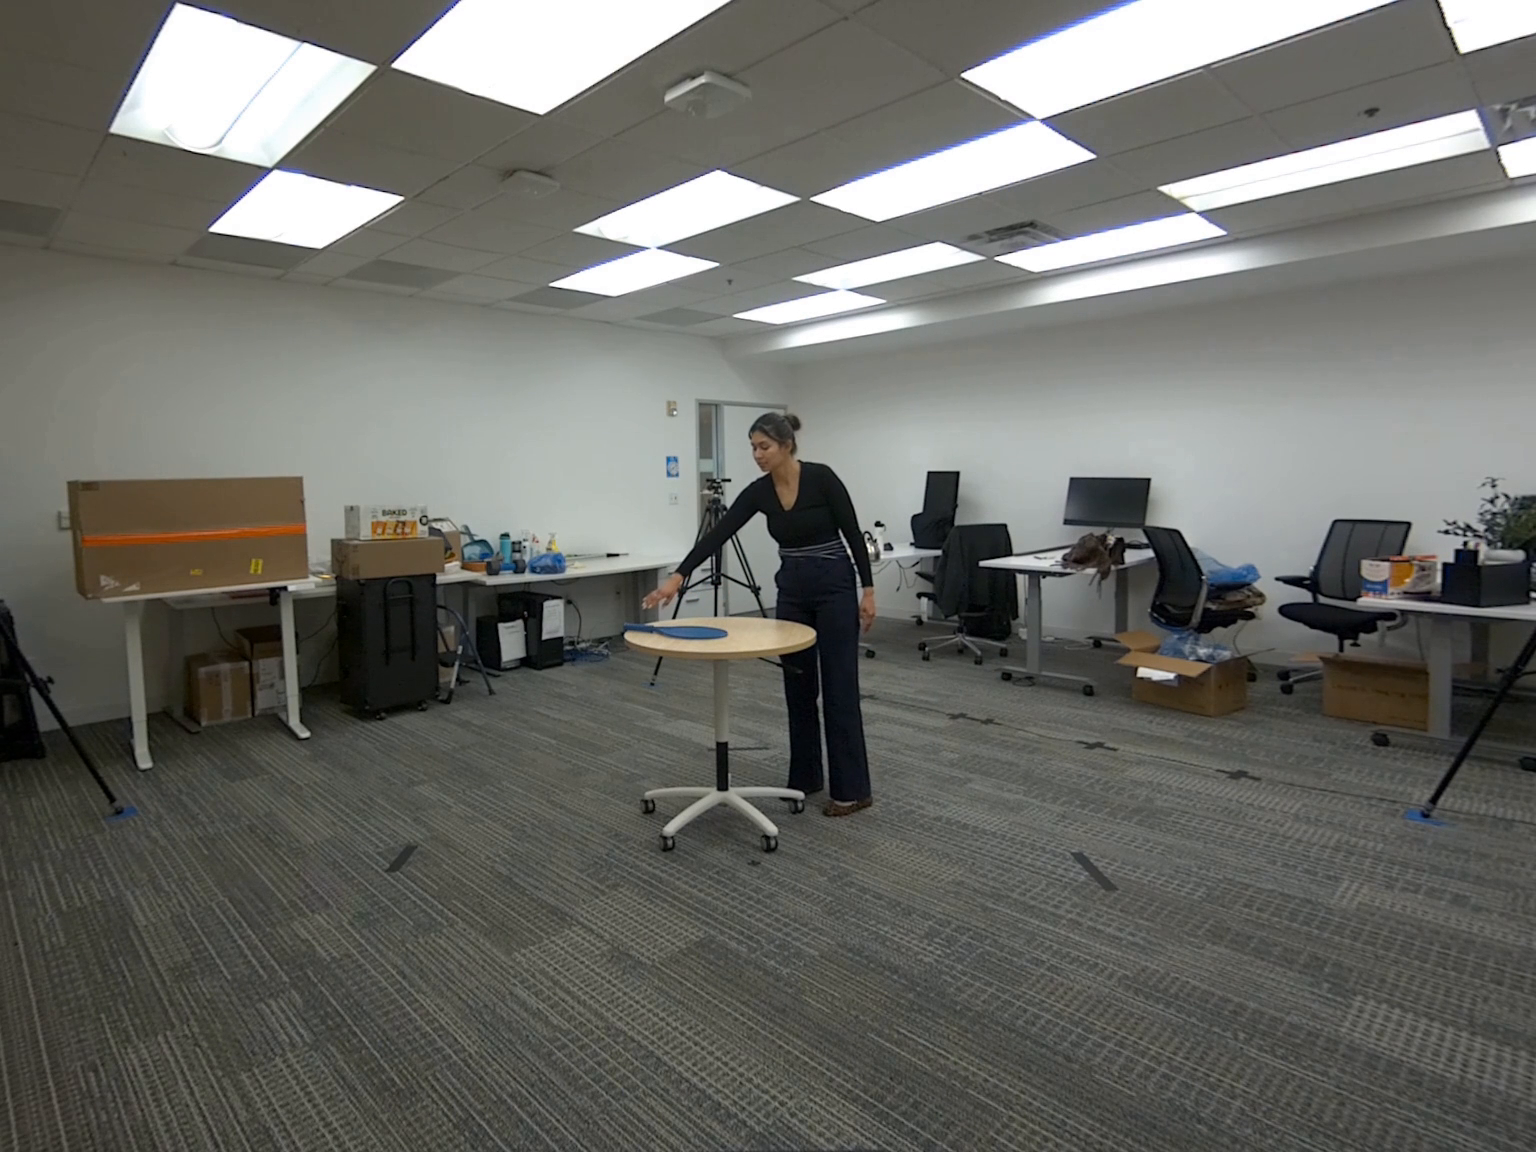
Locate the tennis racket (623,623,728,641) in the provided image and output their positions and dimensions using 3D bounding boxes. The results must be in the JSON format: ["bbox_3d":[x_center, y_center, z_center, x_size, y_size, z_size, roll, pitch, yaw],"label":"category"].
[{"bbox_3d":[-0.379,0.219,3.407,0.440,0.031,0.211,3,7,16],"label":"tennis racket"}]
